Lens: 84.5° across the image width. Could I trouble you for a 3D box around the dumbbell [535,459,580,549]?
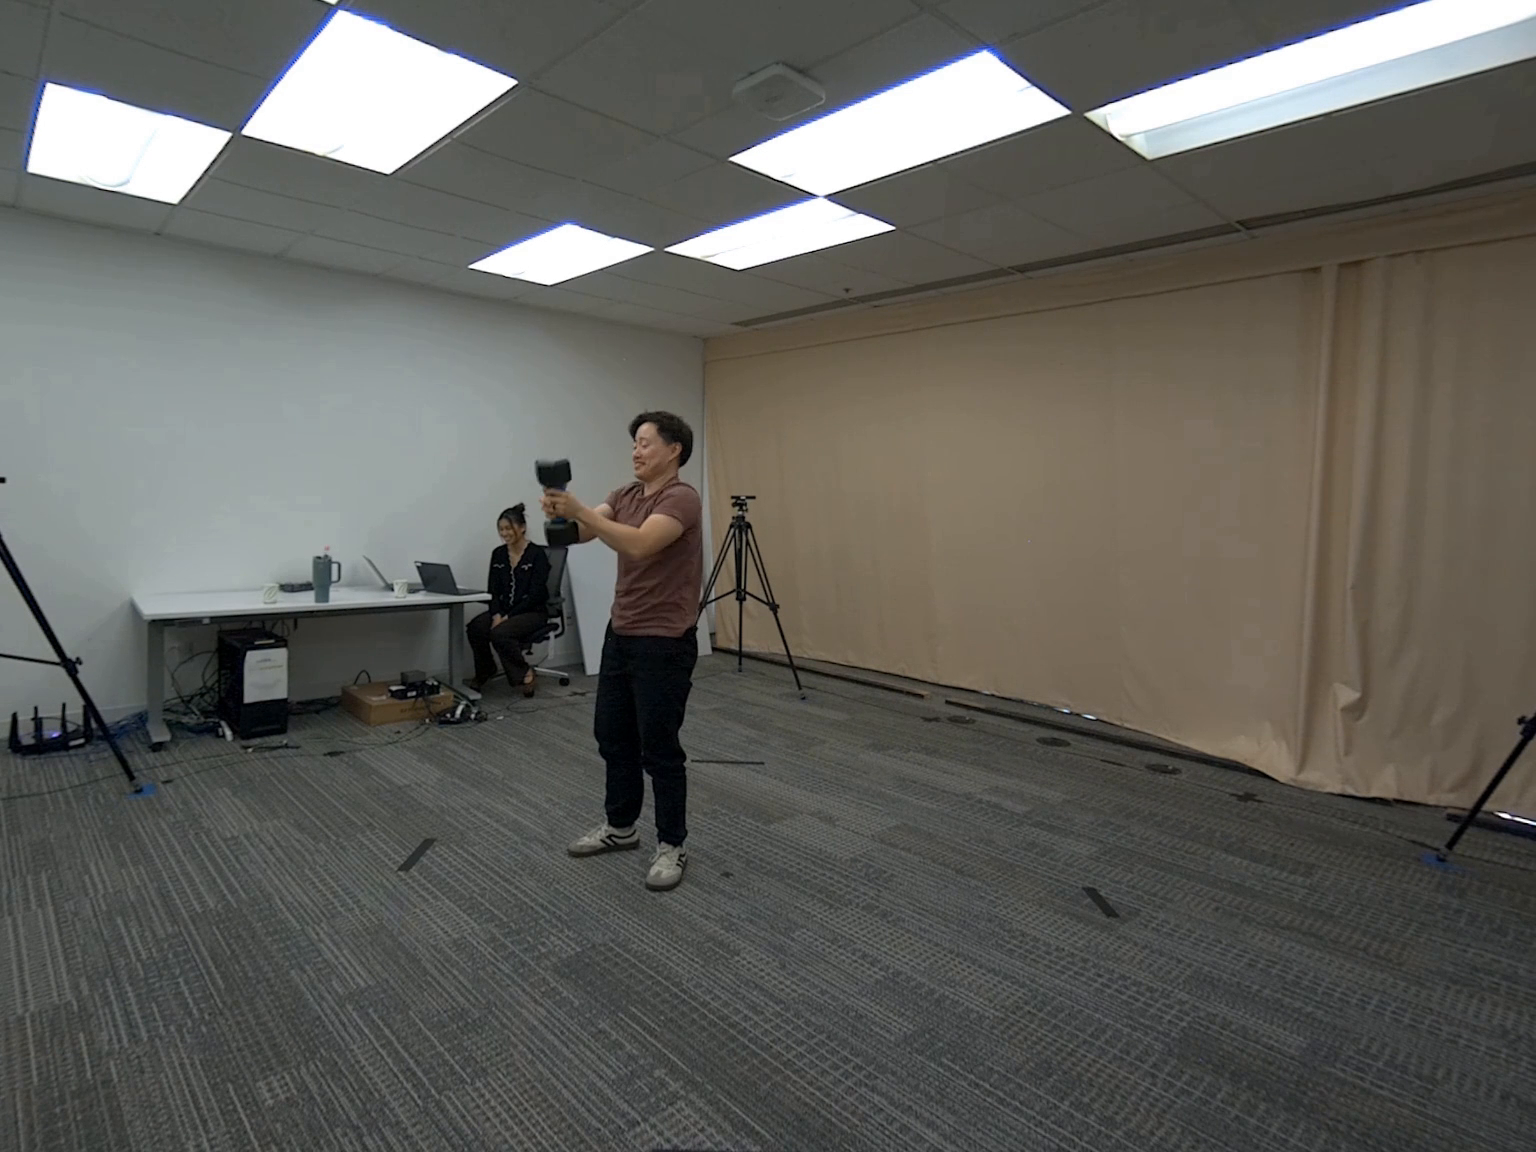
[{"bbox_3d":[-0.705,-0.244,2.803,0.112,0.289,0.121,13,25,36],"label":"dumbbell"}]
